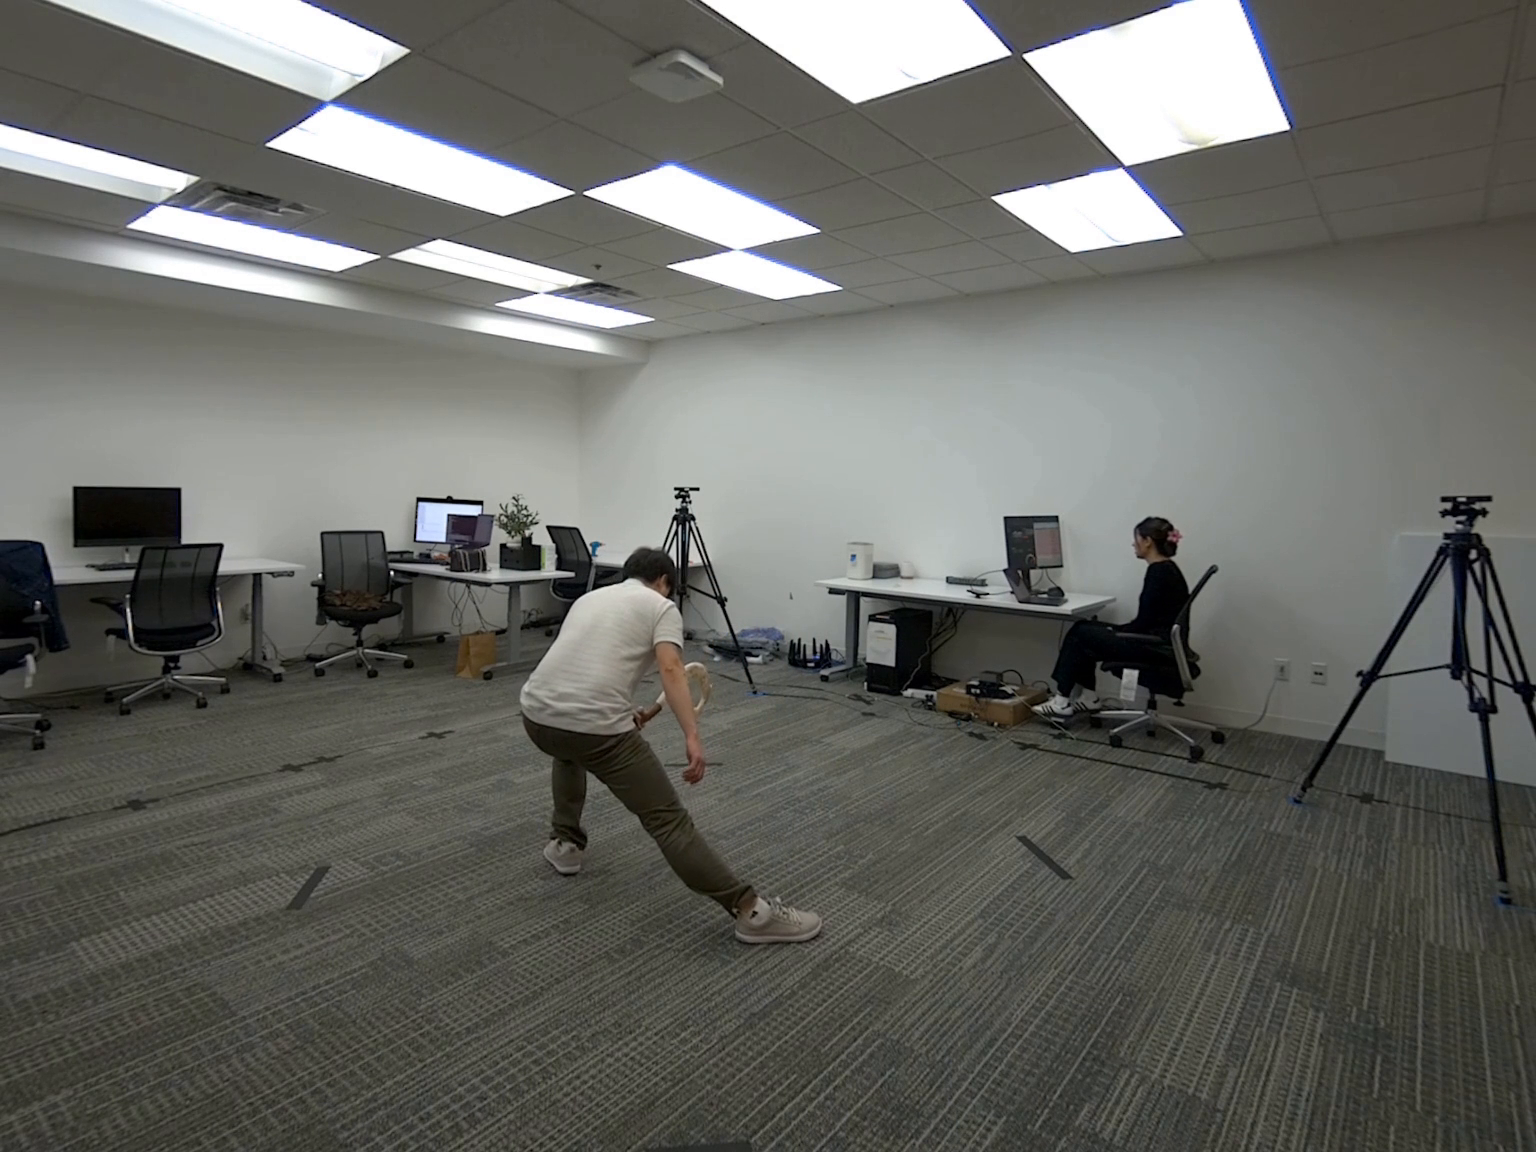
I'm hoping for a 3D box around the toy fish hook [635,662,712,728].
[{"bbox_3d":[-0.399,0.536,3.432,0.049,0.221,0.501,-11,18,44],"label":"toy fish hook"}]
